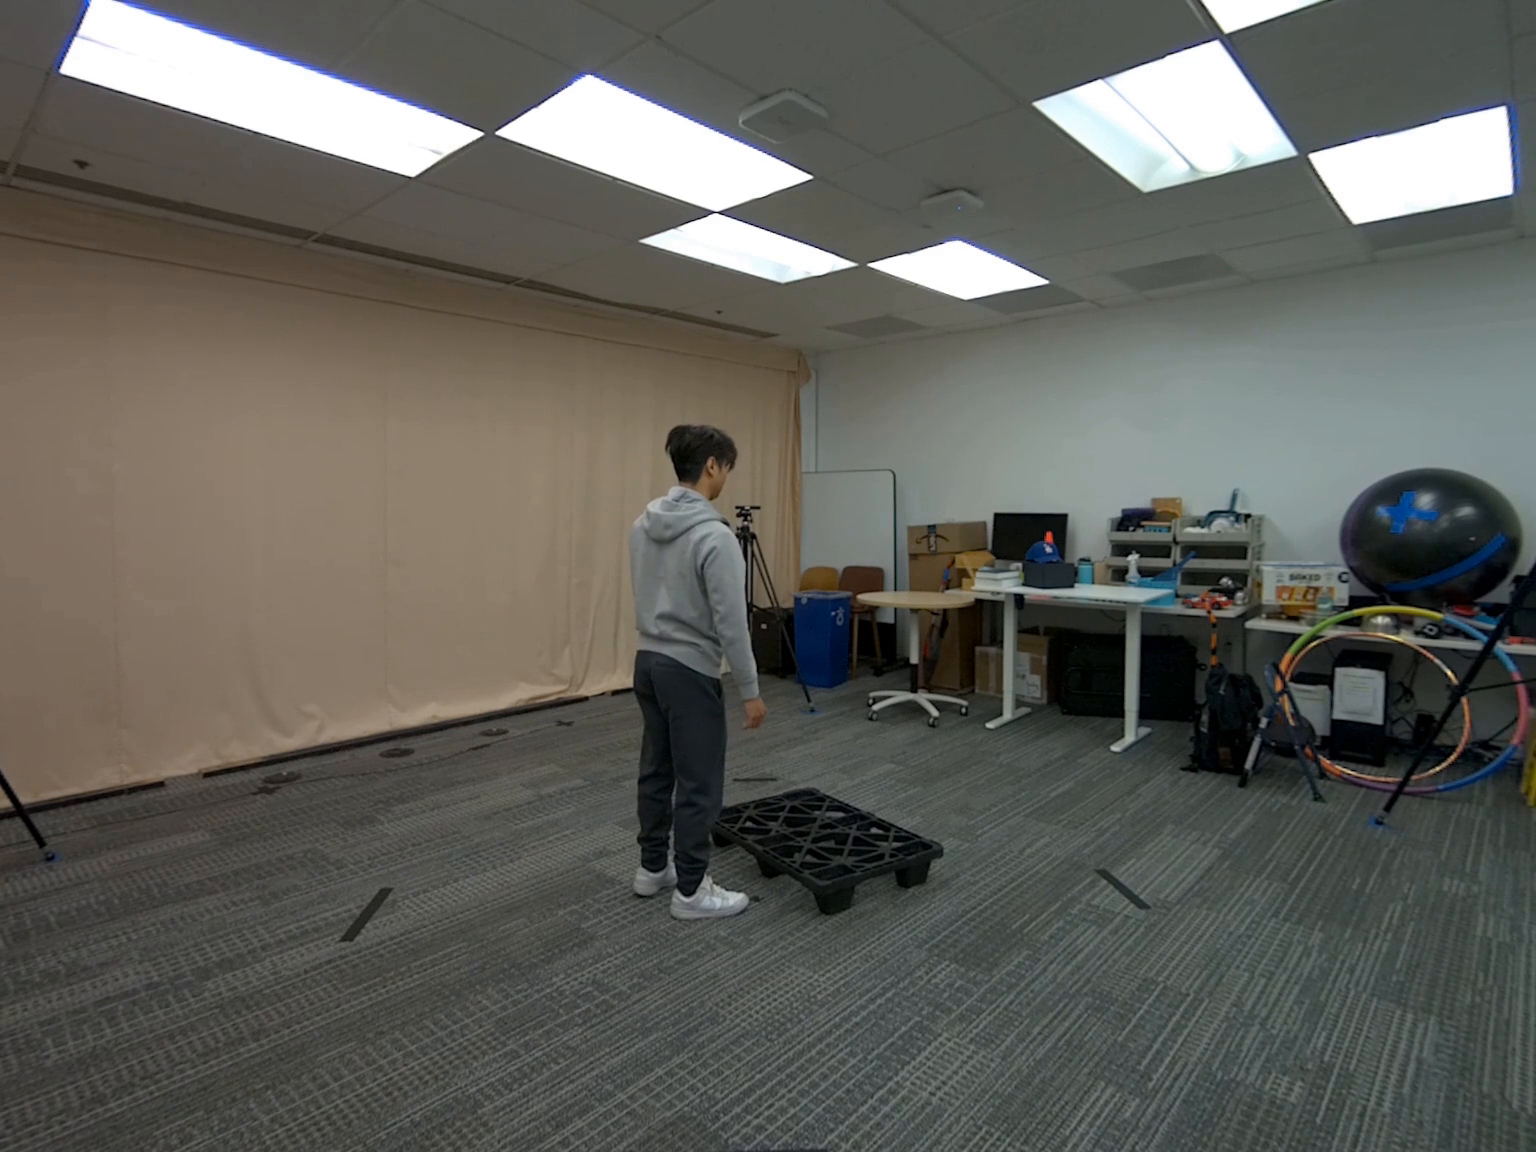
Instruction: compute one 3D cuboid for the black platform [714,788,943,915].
[{"bbox_3d":[0.184,1.053,3.279,0.588,0.143,0.831,-4,6,-34],"label":"black platform"}]
